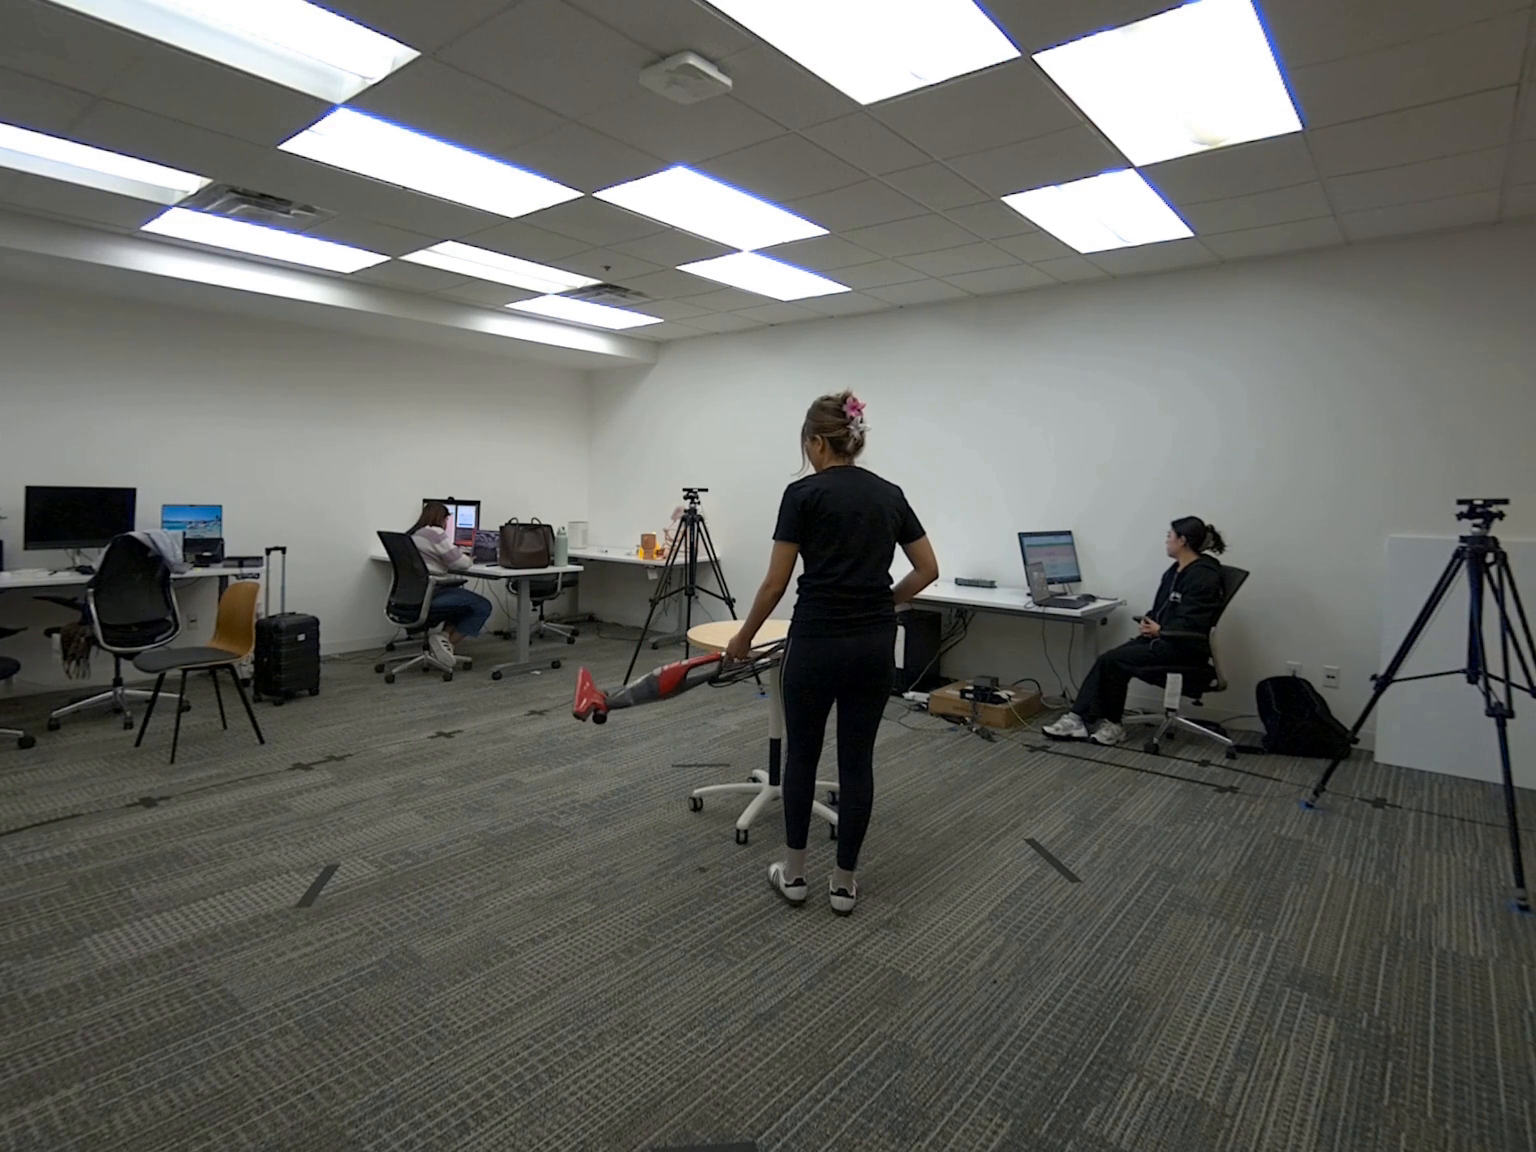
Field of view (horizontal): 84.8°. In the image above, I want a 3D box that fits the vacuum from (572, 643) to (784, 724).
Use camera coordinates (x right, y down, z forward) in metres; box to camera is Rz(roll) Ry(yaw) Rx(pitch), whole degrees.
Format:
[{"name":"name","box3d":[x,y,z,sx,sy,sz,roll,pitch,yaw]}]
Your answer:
[{"name":"vacuum","box3d":[-0.164,0.313,3.009,1.054,0.139,0.260,-16,34,6]}]
